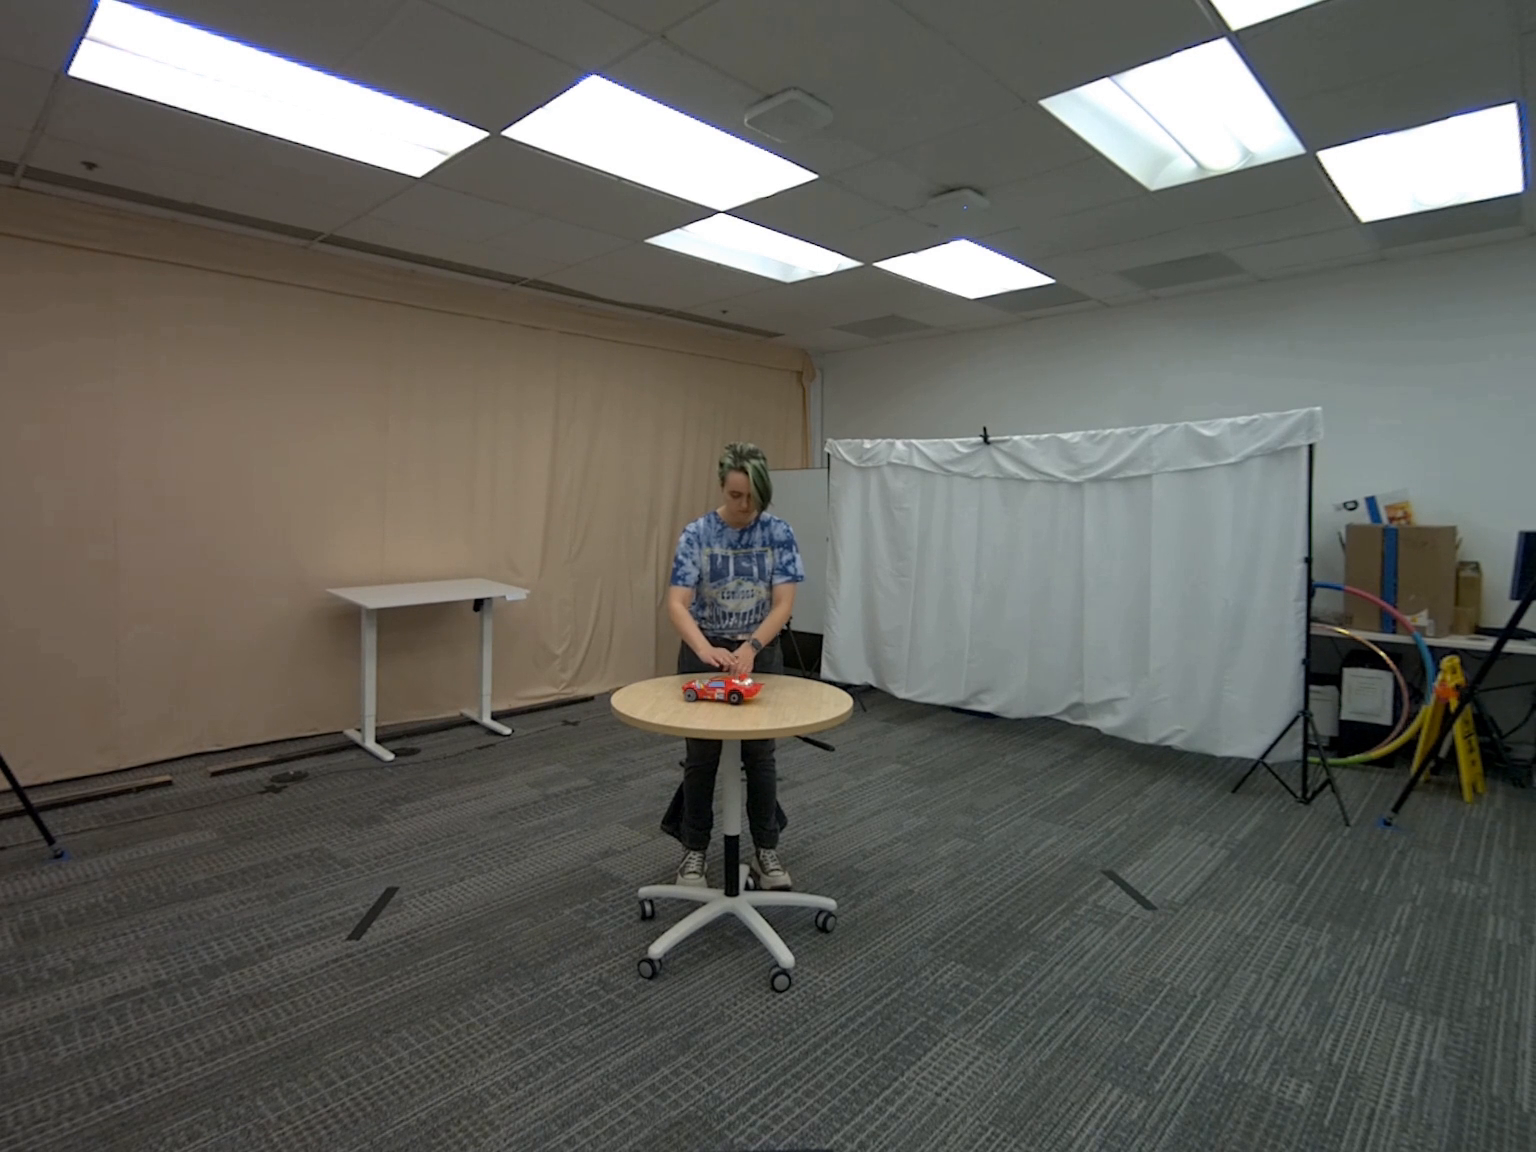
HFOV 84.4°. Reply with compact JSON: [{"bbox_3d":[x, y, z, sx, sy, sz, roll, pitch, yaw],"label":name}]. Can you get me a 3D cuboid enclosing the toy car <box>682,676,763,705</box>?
[{"bbox_3d":[-0.133,0.358,2.641,0.259,0.083,0.128,-10,2,18],"label":"toy car"}]
